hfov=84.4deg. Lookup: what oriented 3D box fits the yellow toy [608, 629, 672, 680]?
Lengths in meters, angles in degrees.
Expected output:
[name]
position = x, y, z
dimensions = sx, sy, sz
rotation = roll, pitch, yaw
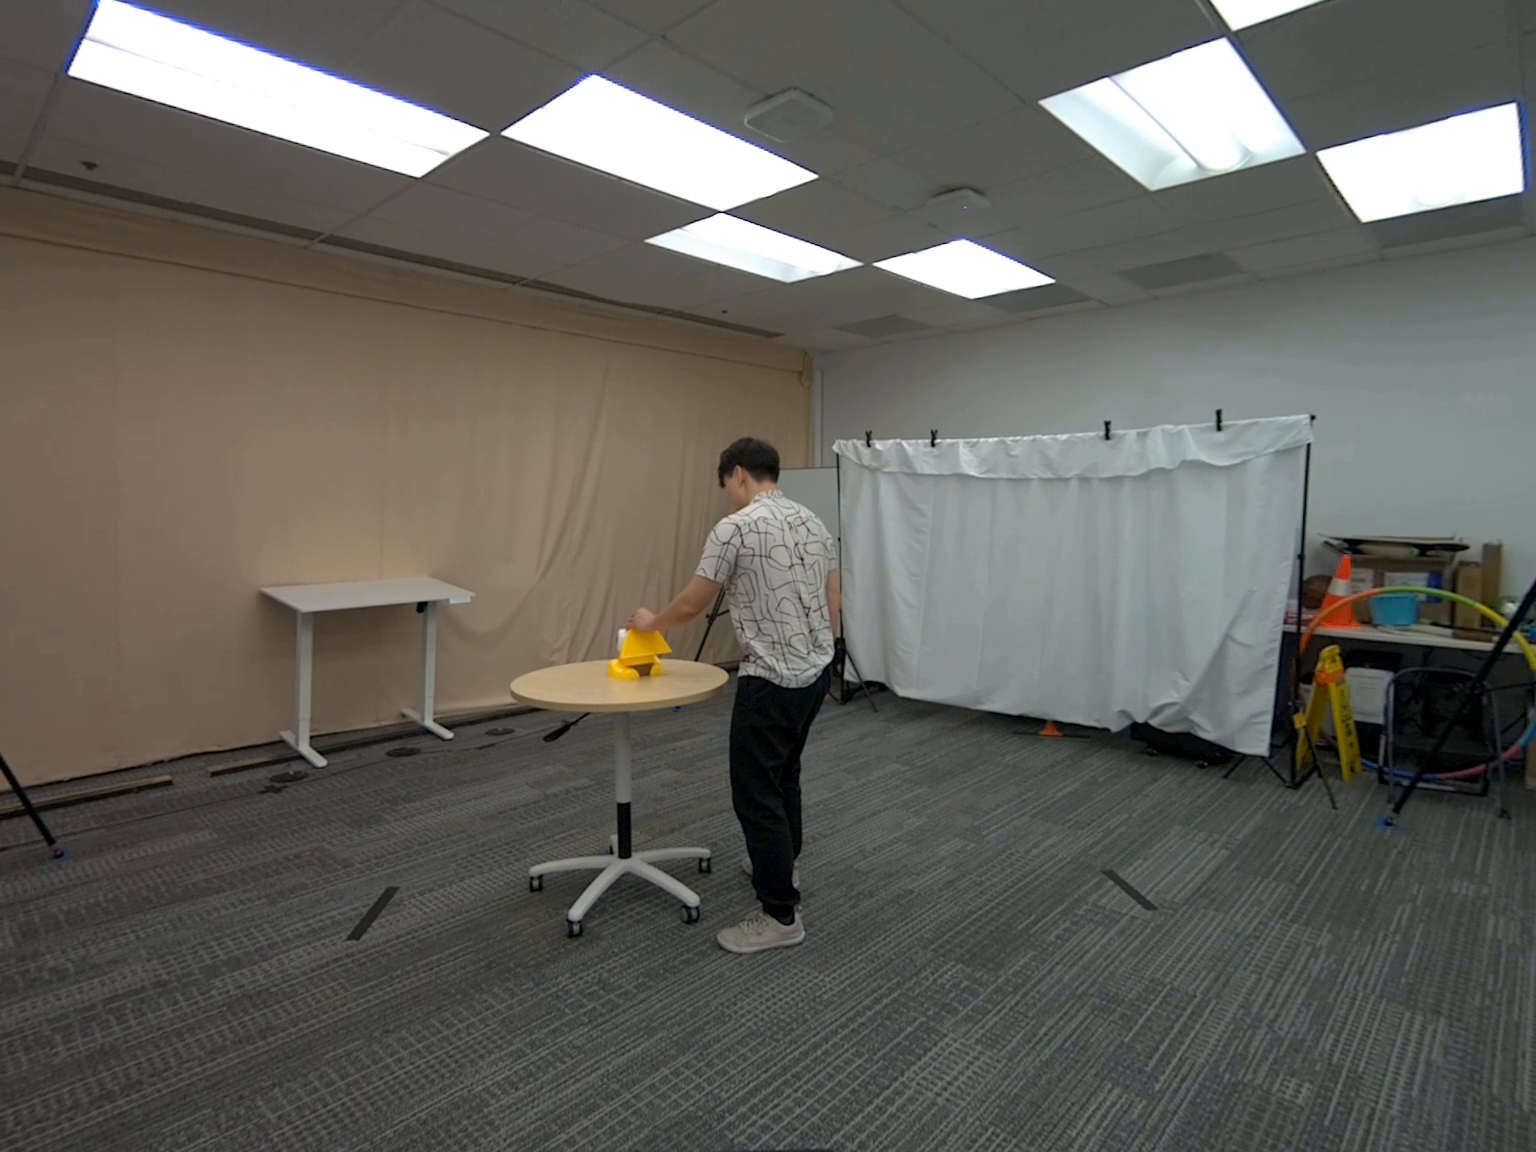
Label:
[yellow toy]
position = -0.483, 0.244, 3.074
dimensions = 0.199, 0.230, 0.199
rotation = -3, 4, -37
